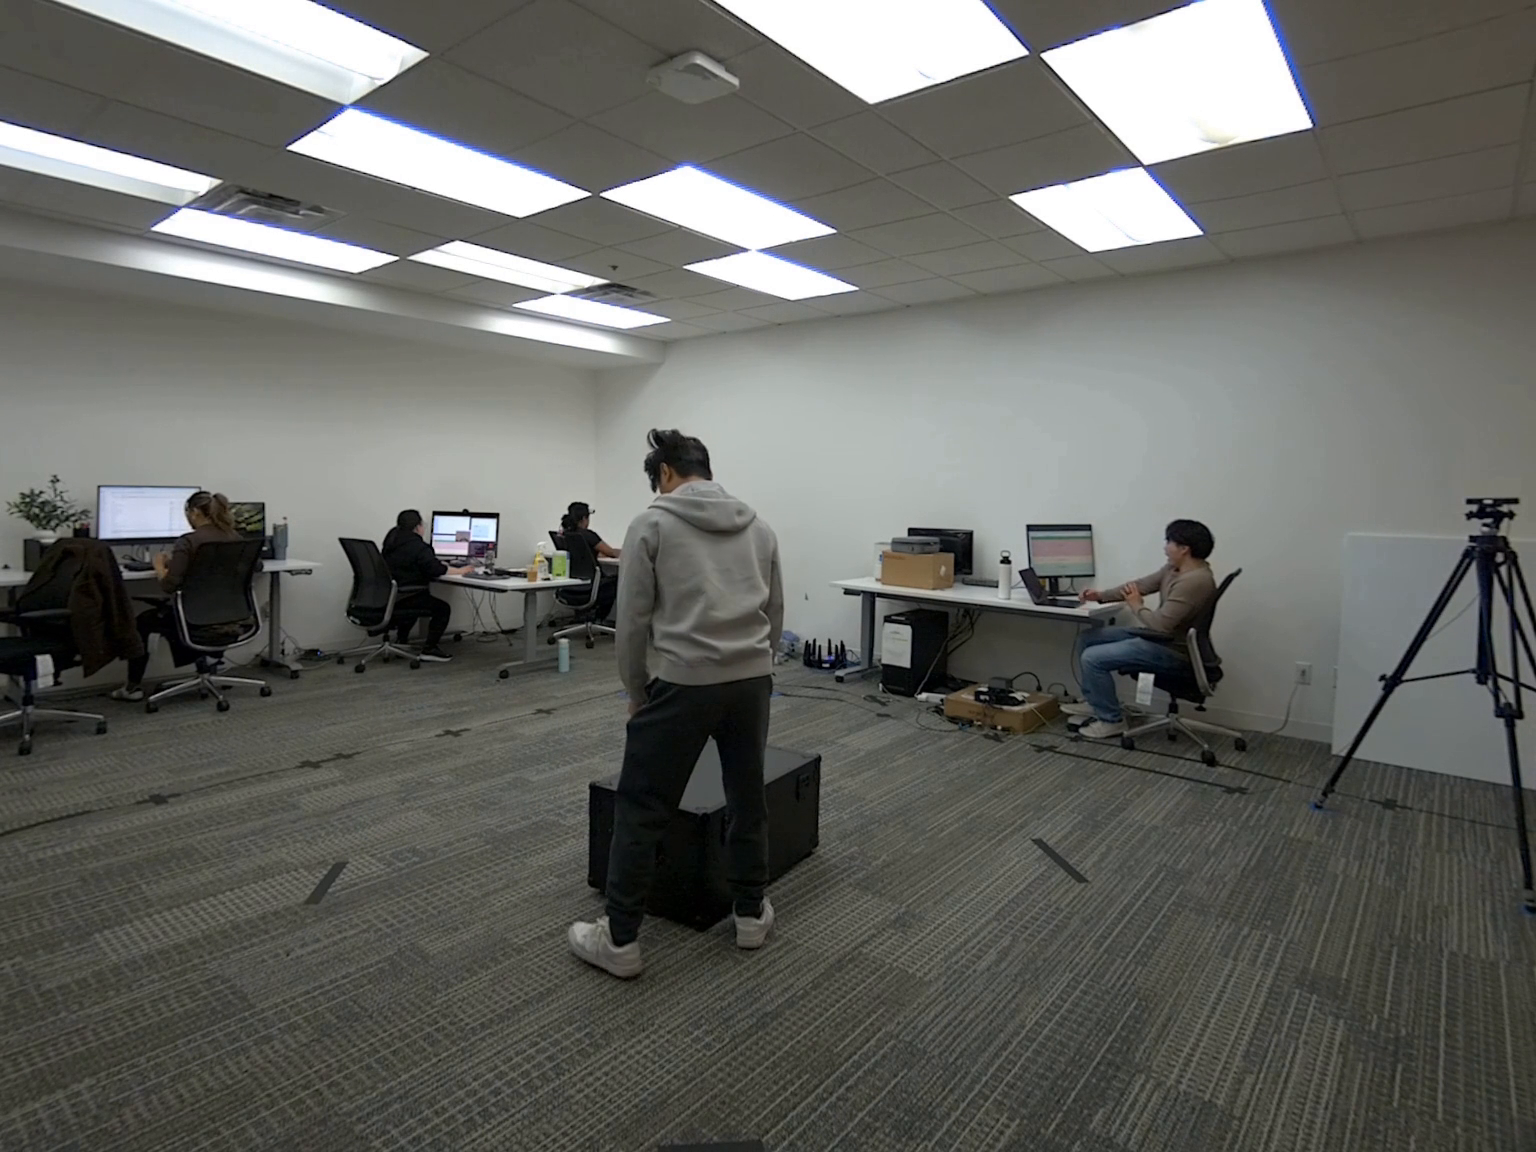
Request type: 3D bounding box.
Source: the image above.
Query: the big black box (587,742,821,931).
[{"bbox_3d":[-0.197,0.877,3.106,0.537,0.395,0.839,4,6,32],"label":"big black box"}]
